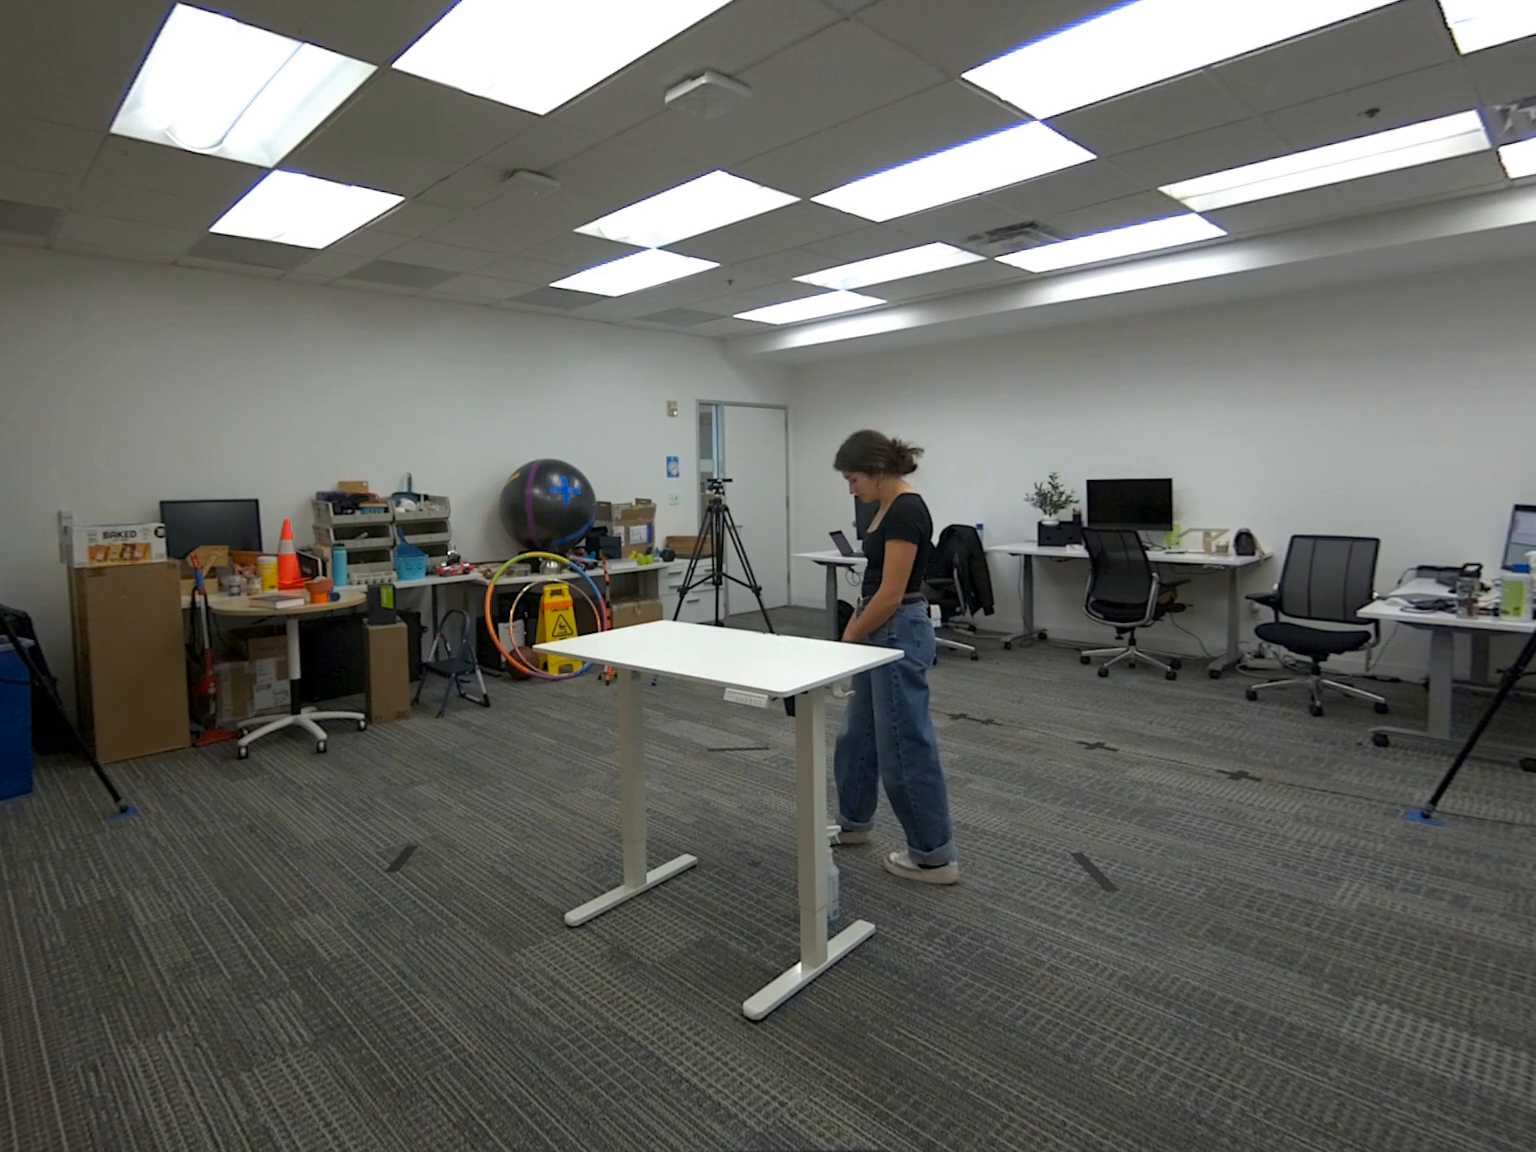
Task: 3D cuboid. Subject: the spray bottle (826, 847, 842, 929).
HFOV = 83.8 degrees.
[{"bbox_3d":[0.197,0.949,2.697,0.092,0.297,0.085,2,1,20],"label":"spray bottle"}]
